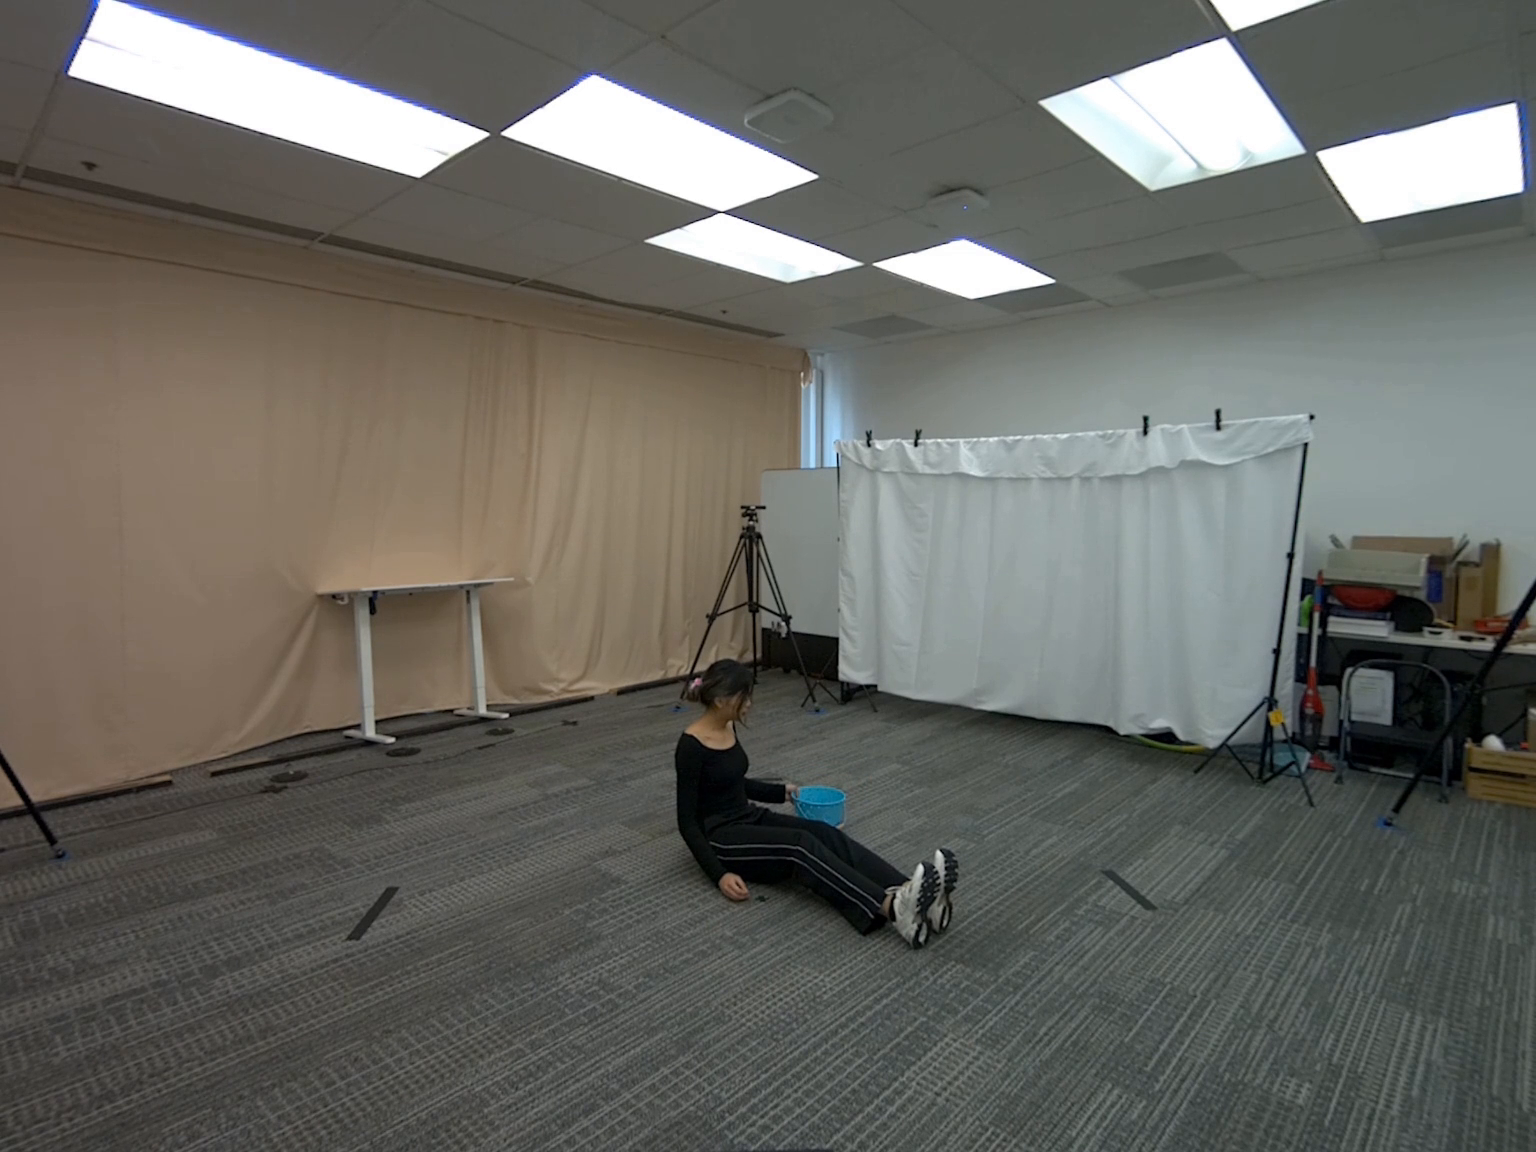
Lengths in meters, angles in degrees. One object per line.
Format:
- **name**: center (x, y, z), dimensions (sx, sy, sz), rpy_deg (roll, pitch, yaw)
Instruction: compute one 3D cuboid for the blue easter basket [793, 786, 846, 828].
- **blue easter basket**: center (0.220, 1.012, 3.601), dimensions (0.243, 0.155, 0.244), rpy_deg (1, 3, -2)
